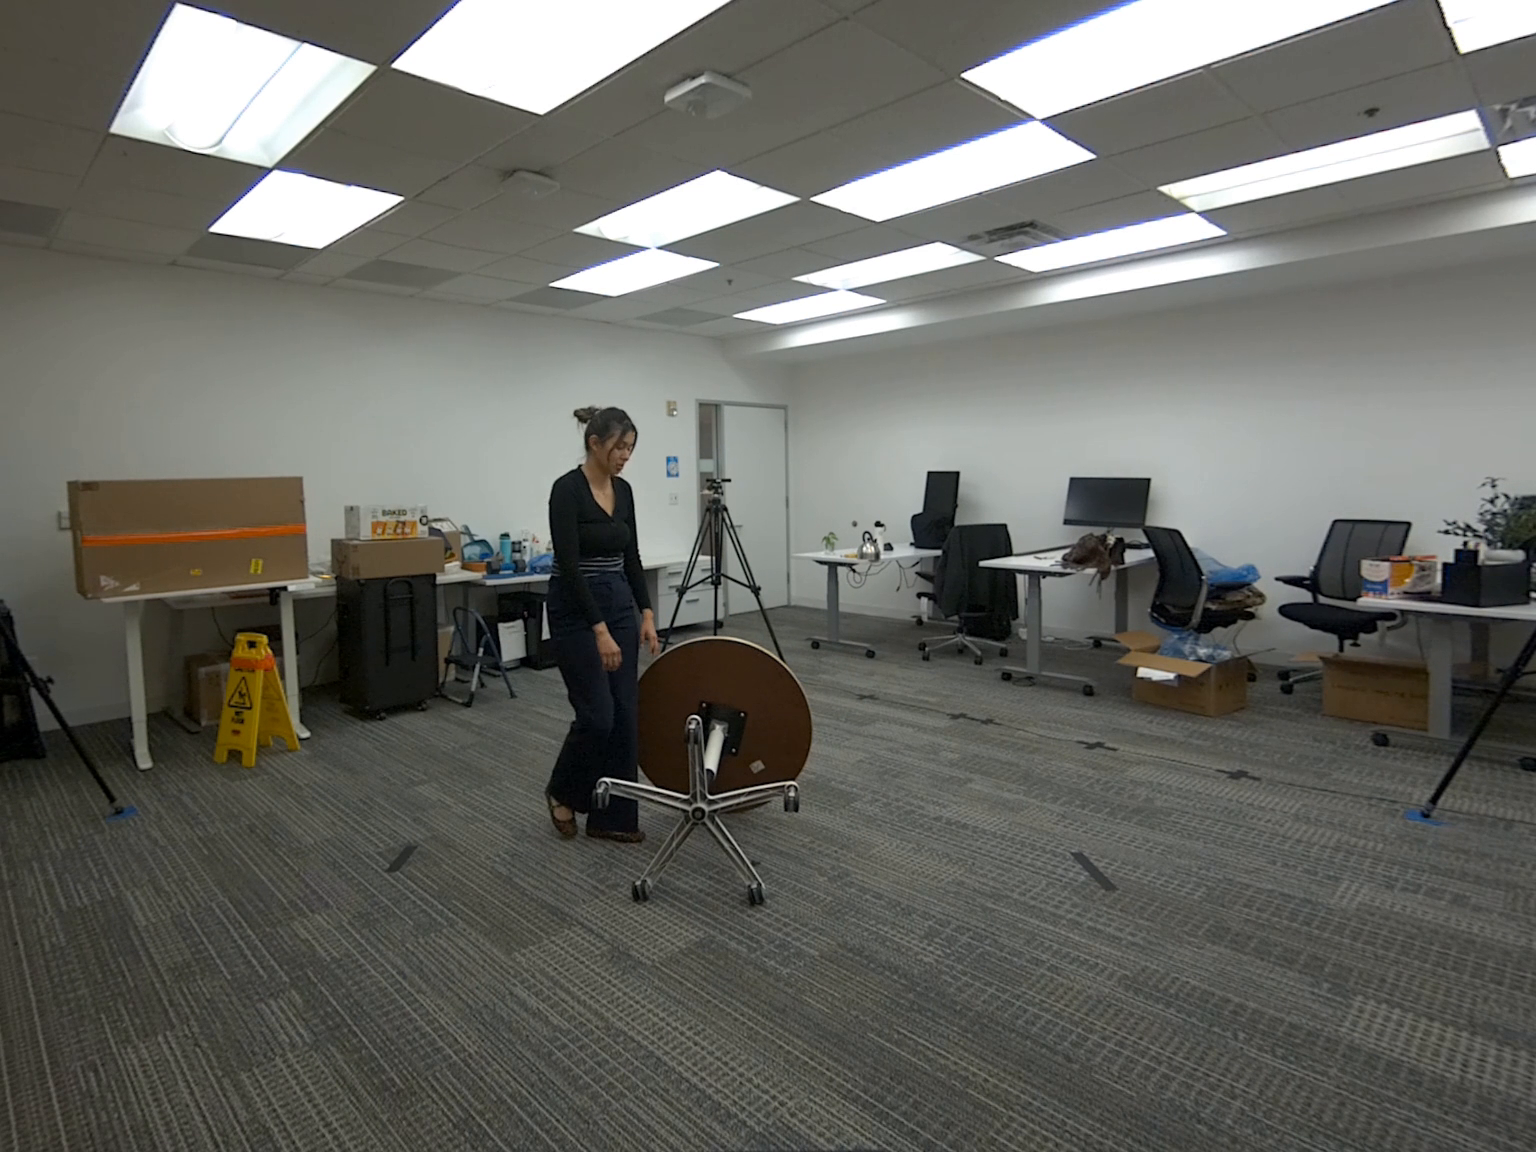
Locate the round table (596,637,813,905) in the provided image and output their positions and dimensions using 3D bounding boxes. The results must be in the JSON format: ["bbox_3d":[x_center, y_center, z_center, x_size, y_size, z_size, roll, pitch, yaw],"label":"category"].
[{"bbox_3d":[-0.209,0.717,3.138,0.768,0.756,0.799,-1,12,4],"label":"round table"}]
